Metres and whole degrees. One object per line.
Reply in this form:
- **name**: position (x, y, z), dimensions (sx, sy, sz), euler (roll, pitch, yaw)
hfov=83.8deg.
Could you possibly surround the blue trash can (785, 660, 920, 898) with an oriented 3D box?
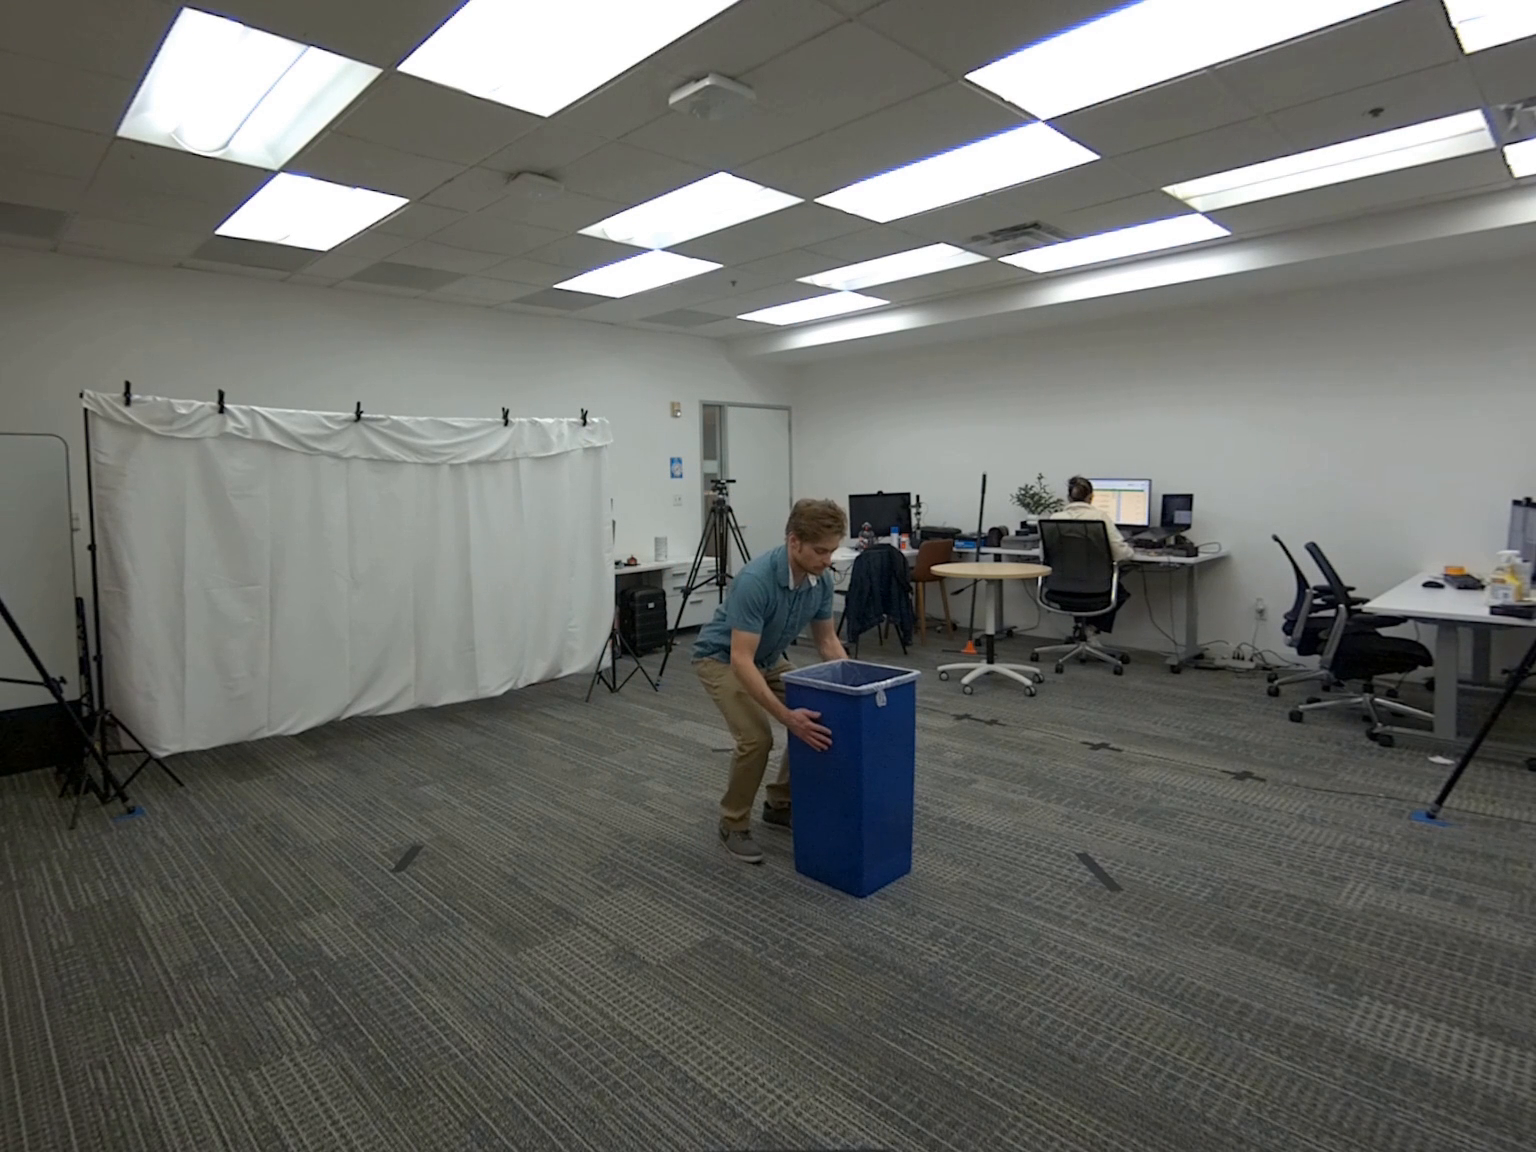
- **blue trash can**: position (0.303, 0.699, 3.009), dimensions (0.389, 0.712, 0.364), euler (3, 4, 44)
